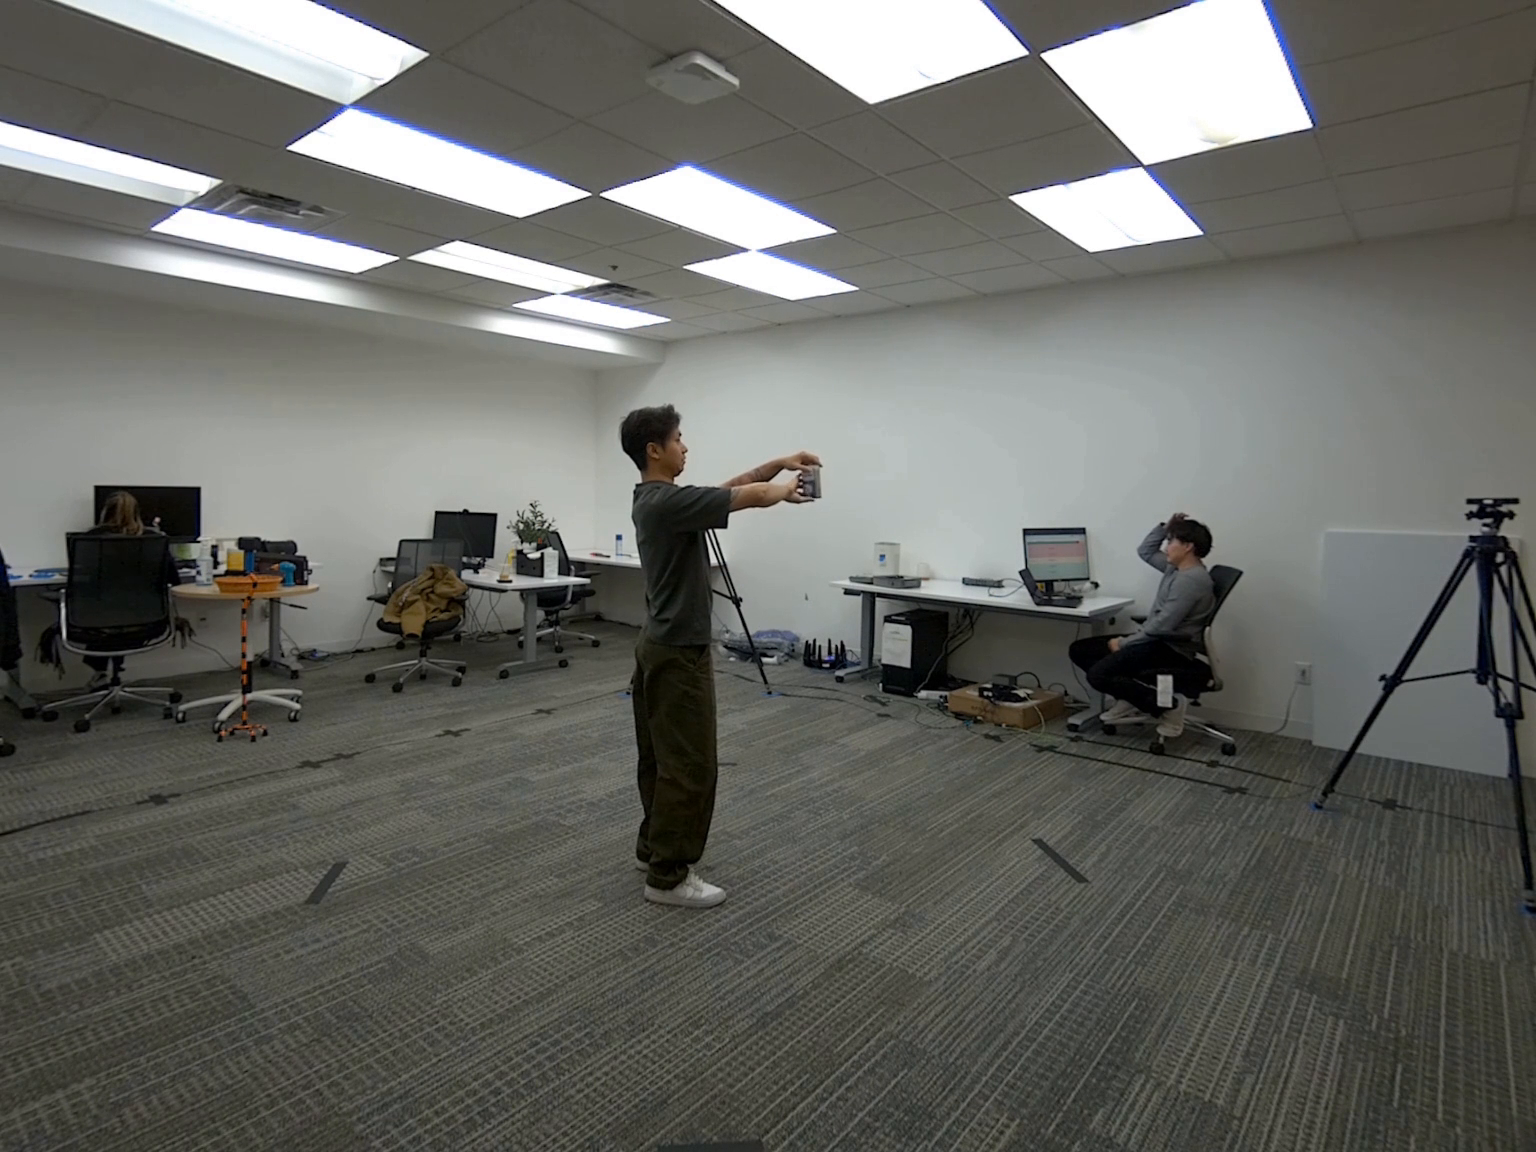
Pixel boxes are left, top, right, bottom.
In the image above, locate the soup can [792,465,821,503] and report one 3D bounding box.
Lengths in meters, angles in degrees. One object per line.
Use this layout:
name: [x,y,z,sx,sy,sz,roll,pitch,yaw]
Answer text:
soup can: [0.150,-0.339,3.053,0.067,0.121,0.067,-4,3,-2]
